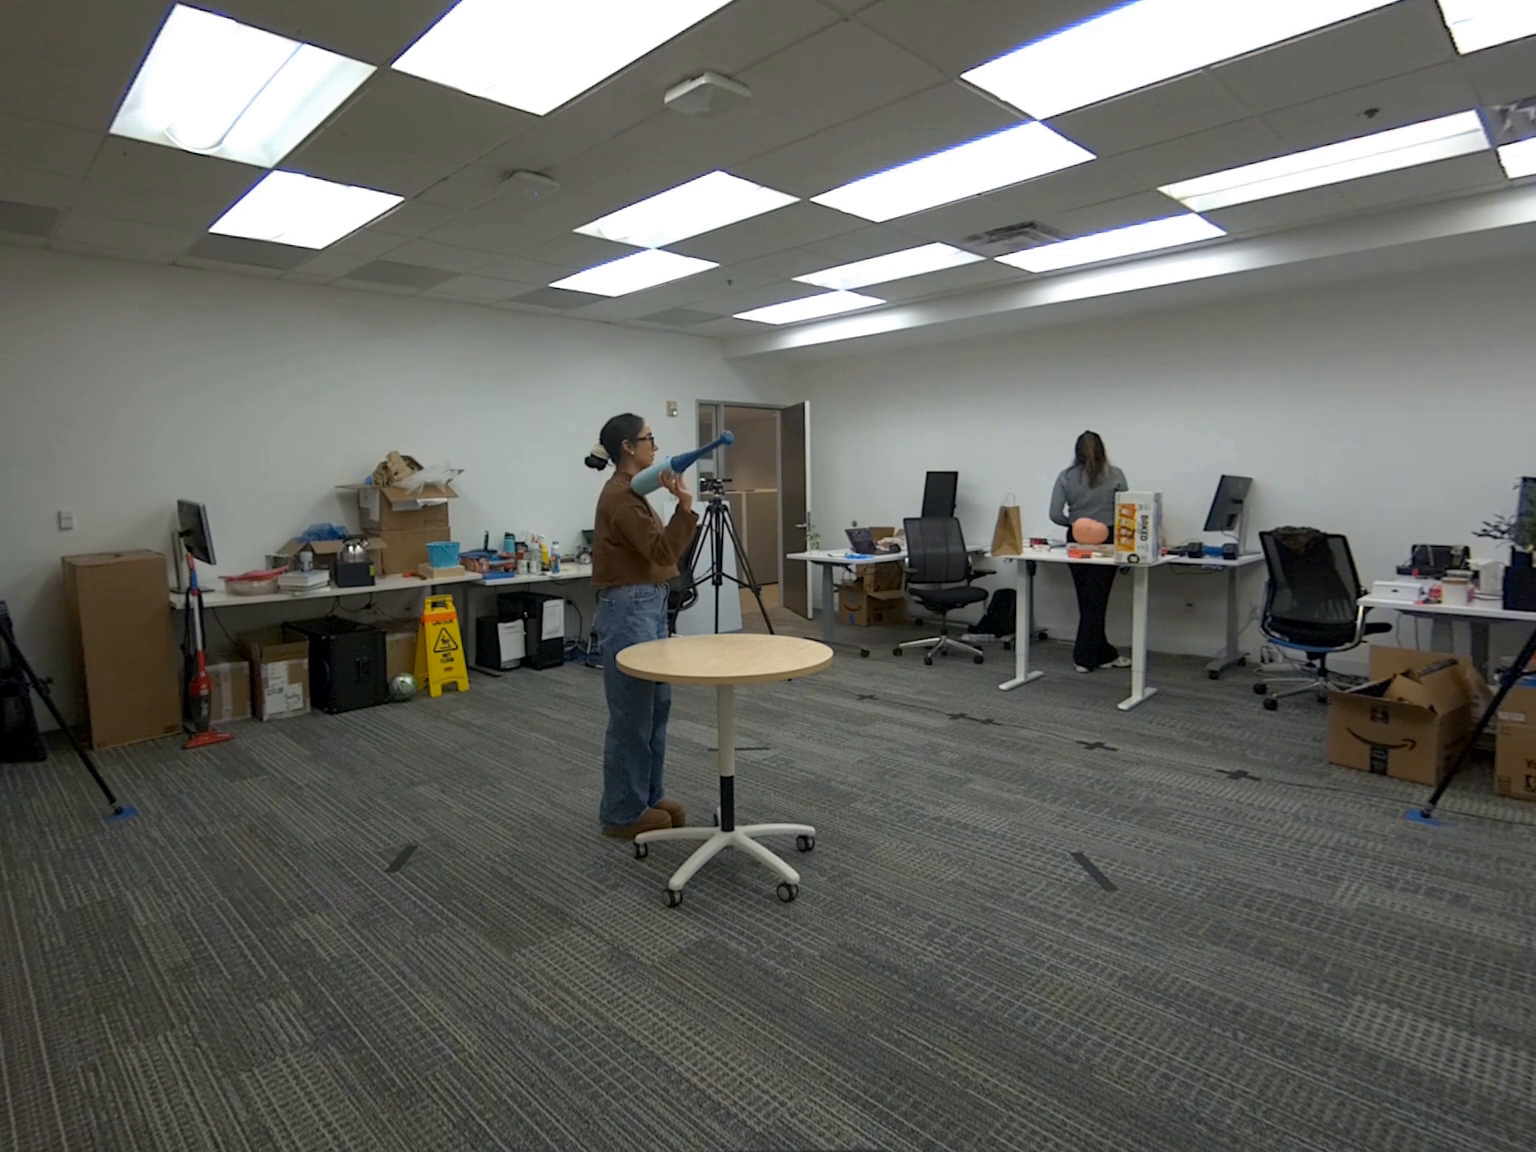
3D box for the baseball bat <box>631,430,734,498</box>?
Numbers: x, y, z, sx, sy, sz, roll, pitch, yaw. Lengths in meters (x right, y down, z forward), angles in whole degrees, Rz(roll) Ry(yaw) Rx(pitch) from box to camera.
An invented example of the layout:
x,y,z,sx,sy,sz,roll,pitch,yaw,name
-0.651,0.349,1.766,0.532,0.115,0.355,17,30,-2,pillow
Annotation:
x,y,z,sx,sy,sz,roll,pitch,yaw,name
-0.309,-0.406,3.053,0.087,0.090,0.552,-5,-10,-44,baseball bat
